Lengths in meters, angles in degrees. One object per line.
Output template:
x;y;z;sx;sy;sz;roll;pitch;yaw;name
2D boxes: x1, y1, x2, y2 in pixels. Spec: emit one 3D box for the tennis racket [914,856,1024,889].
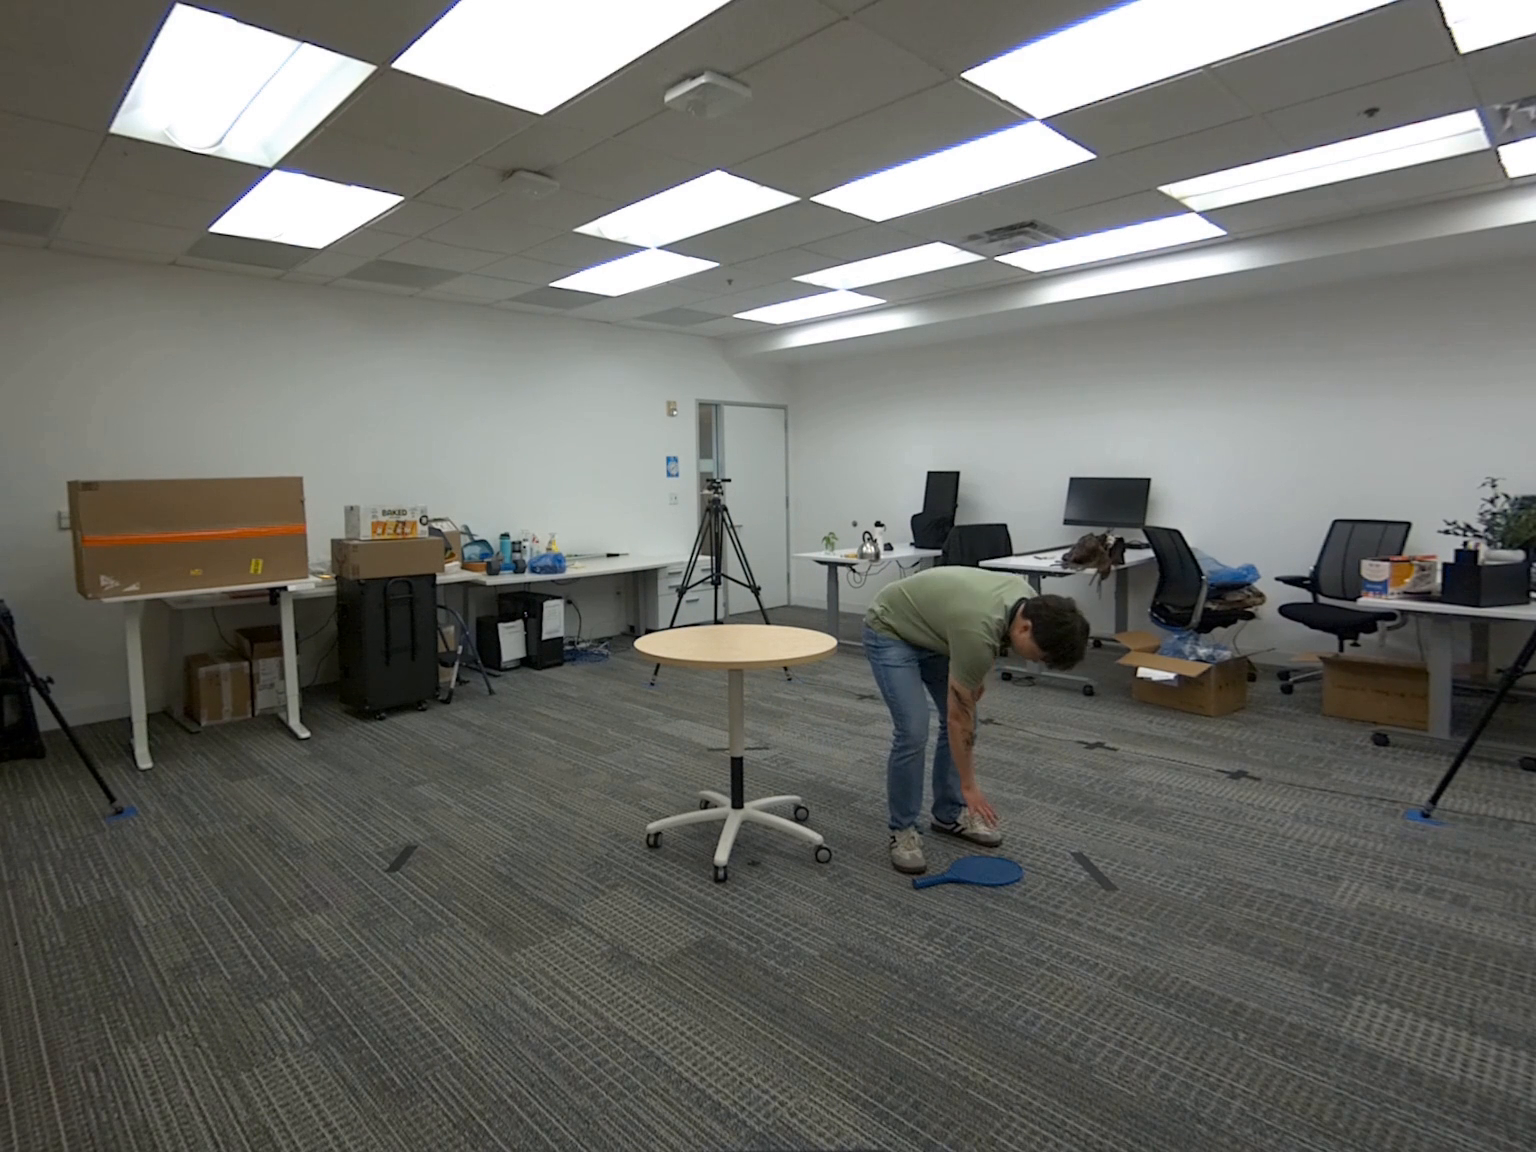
0.696;1.033;2.969;0.424;0.031;0.219;-2;7;-24;tennis racket
